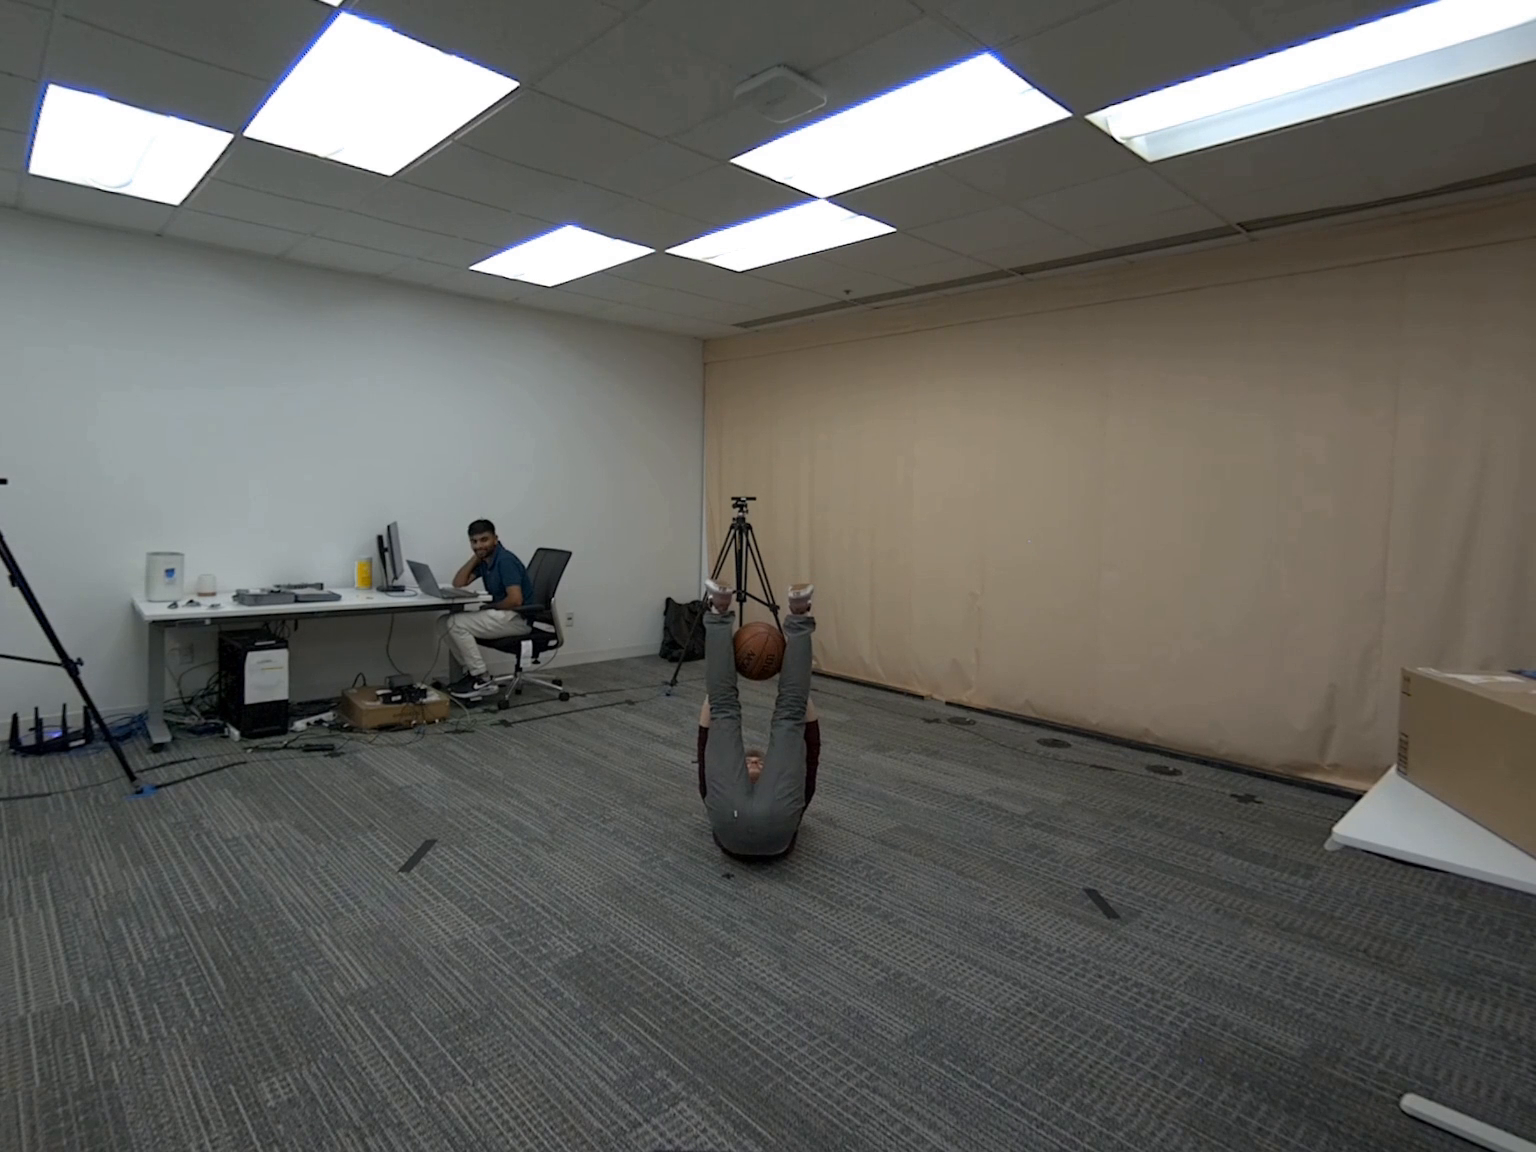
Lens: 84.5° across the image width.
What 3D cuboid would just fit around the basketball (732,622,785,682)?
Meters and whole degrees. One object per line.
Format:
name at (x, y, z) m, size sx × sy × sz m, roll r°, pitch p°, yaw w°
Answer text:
basketball at (-0.048, 0.305, 3.426) m, size 0.236 × 0.235 × 0.237 m, roll 1°, pitch 4°, yaw -1°
